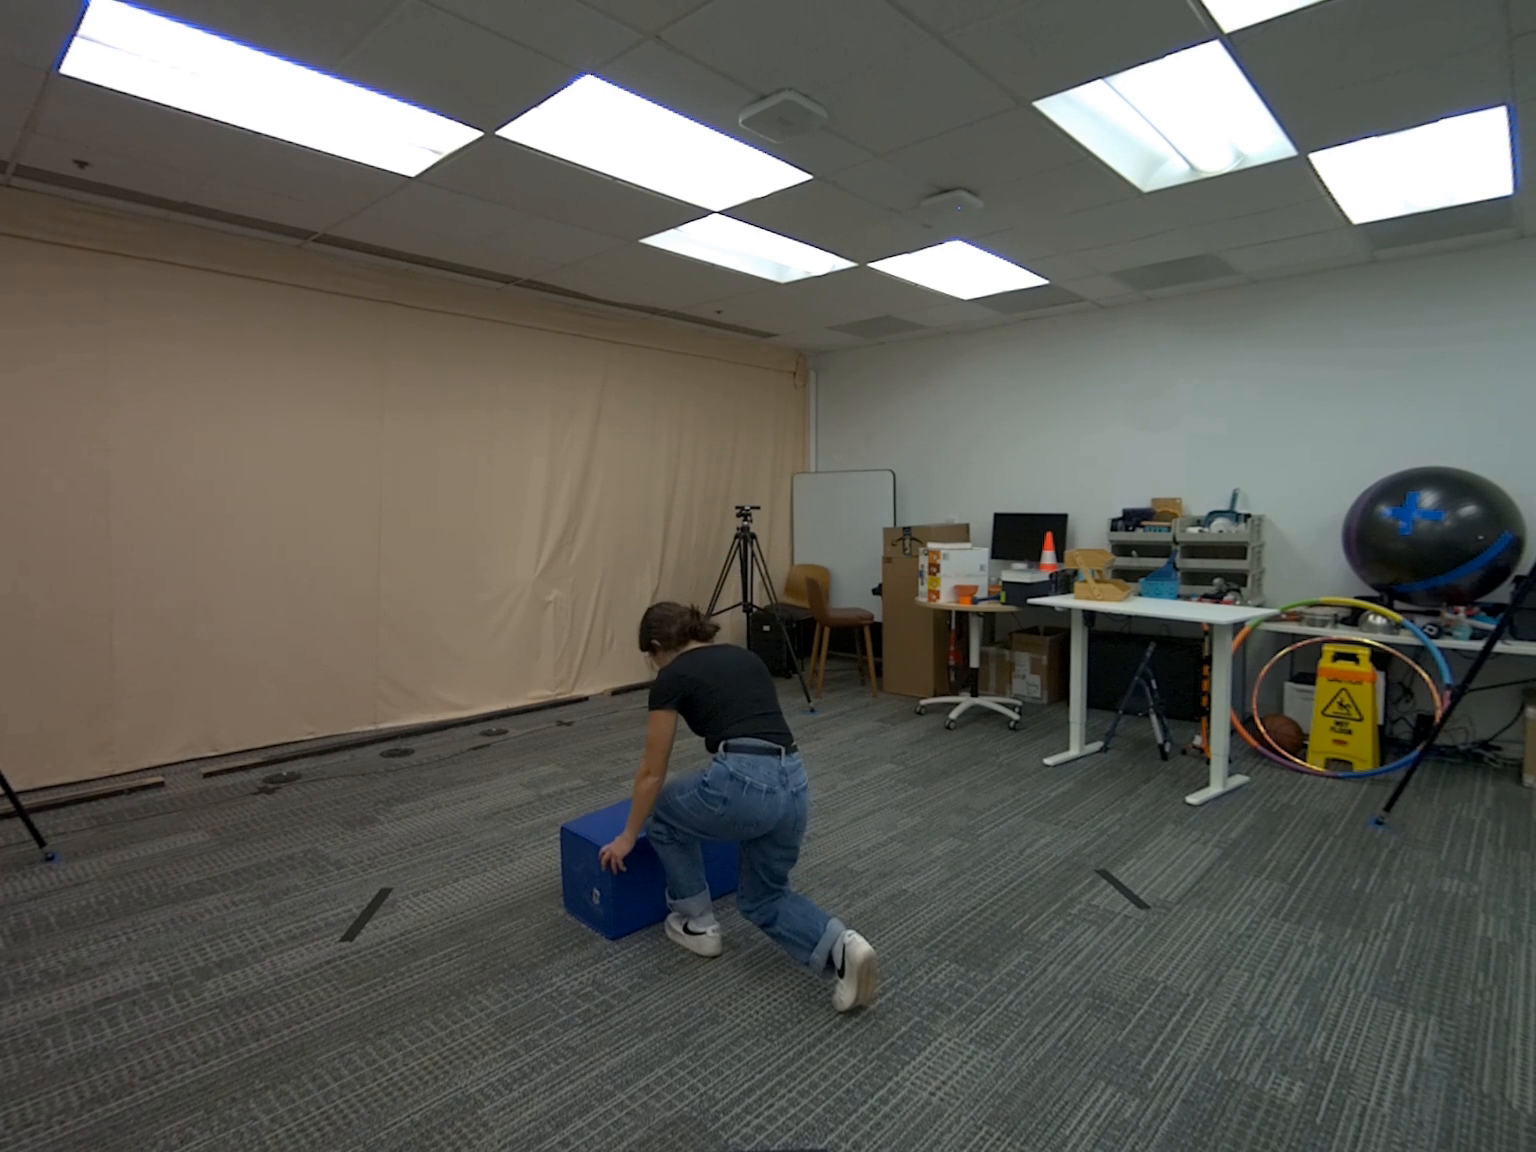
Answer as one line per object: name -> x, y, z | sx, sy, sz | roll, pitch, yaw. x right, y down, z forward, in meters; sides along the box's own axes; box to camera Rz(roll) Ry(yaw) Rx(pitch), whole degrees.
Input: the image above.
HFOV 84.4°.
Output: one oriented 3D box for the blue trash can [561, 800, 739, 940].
blue trash can -> -0.347, 0.976, 3.015 | 0.693, 0.376, 0.386 | -8, 8, -43
